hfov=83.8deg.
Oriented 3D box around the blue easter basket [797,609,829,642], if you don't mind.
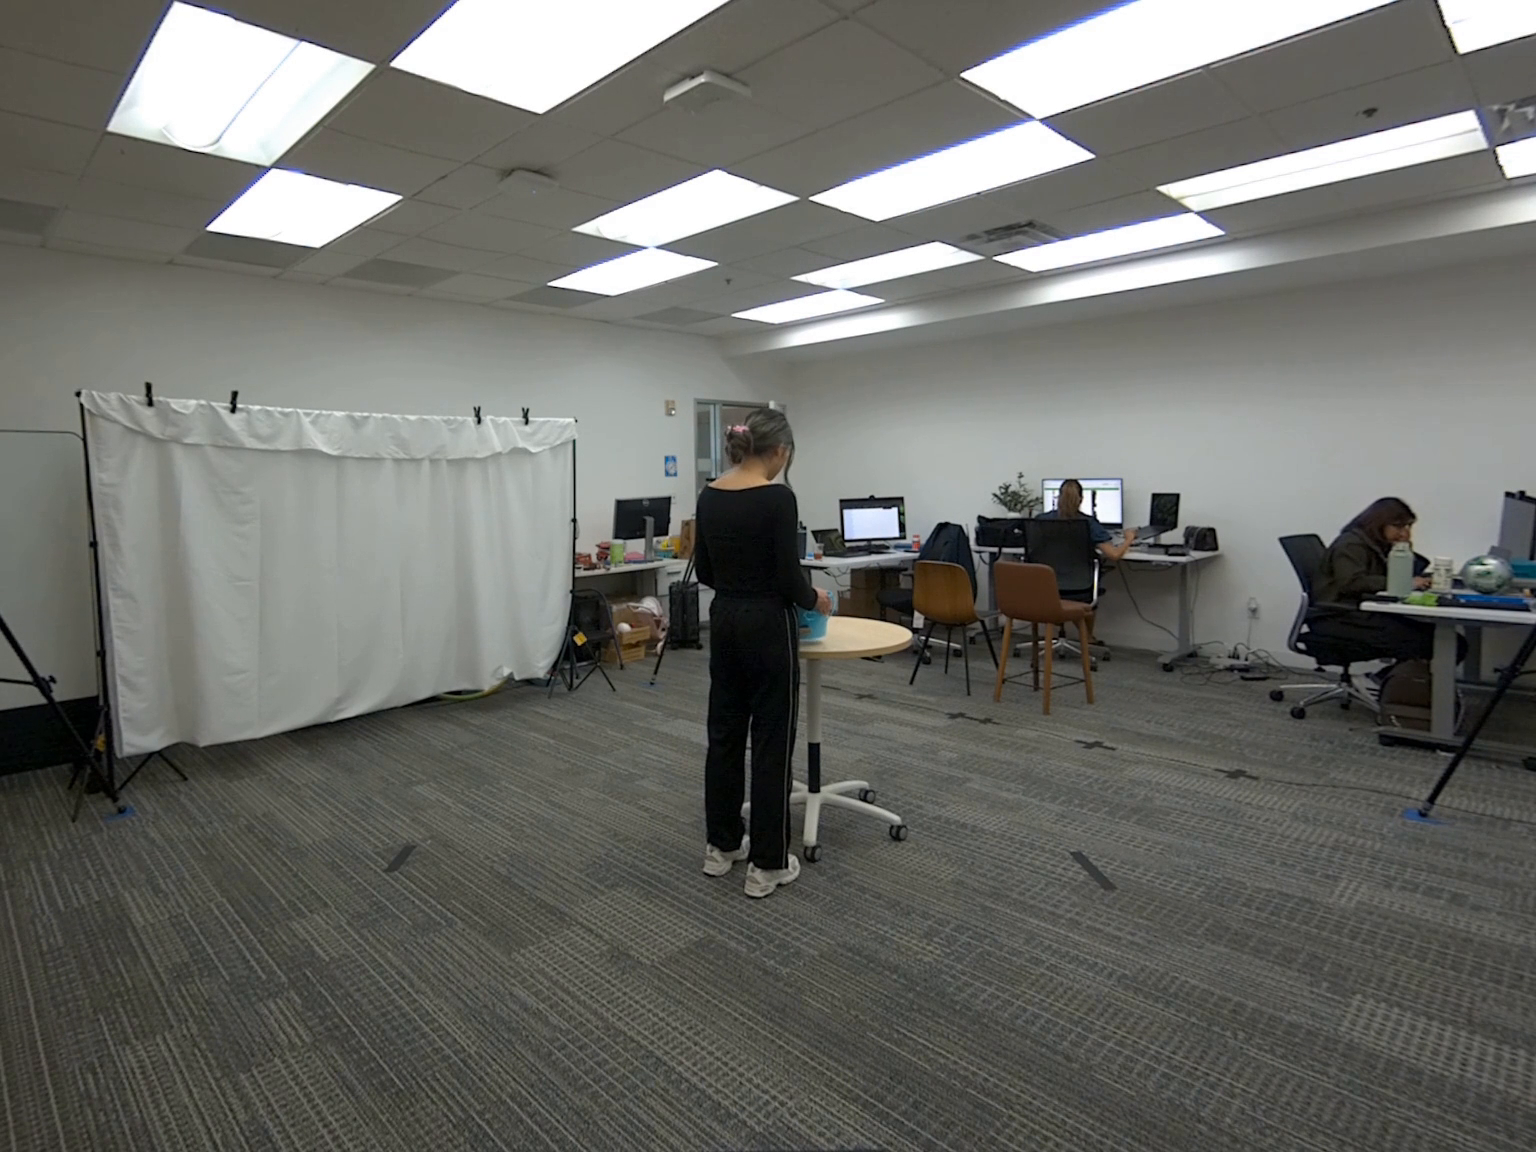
[{"bbox_3d":[0.123,0.145,3.152,0.243,0.155,0.245,-3,7,-1],"label":"blue easter basket"}]
